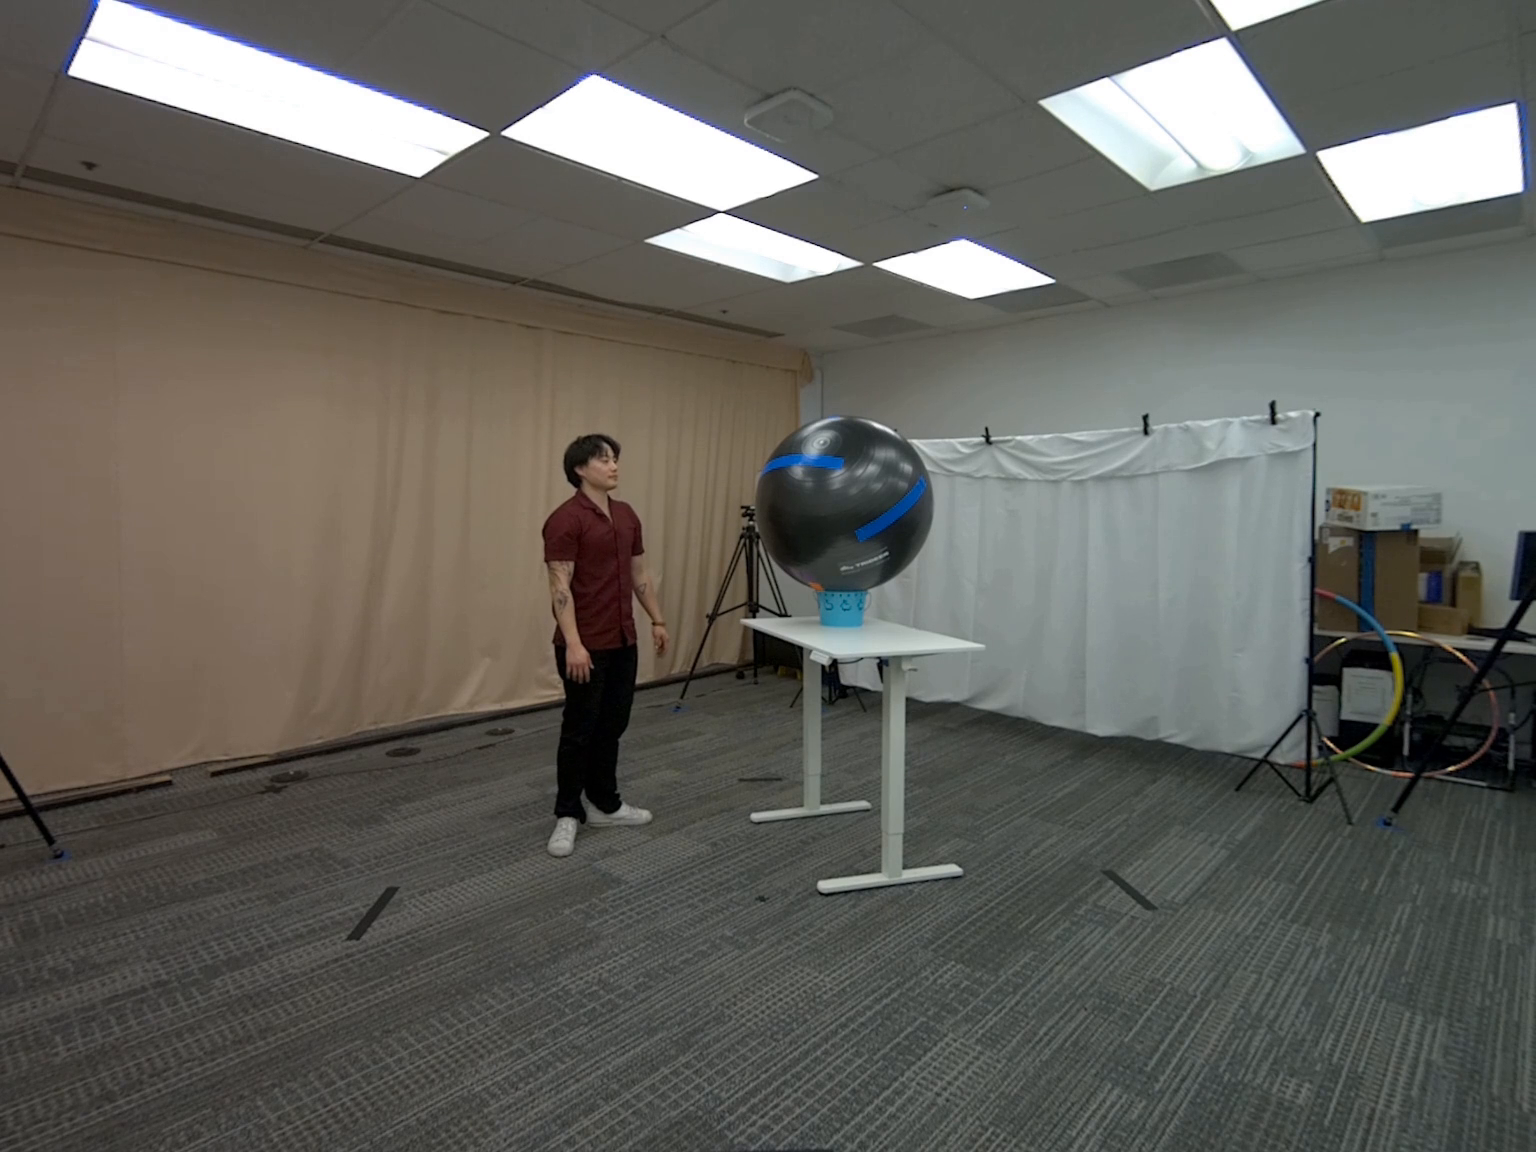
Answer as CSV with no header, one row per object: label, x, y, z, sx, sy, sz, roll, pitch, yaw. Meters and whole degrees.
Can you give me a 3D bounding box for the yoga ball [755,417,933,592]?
yoga ball,0.338,-0.296,3.626,0.757,0.756,0.760,0,4,-2
